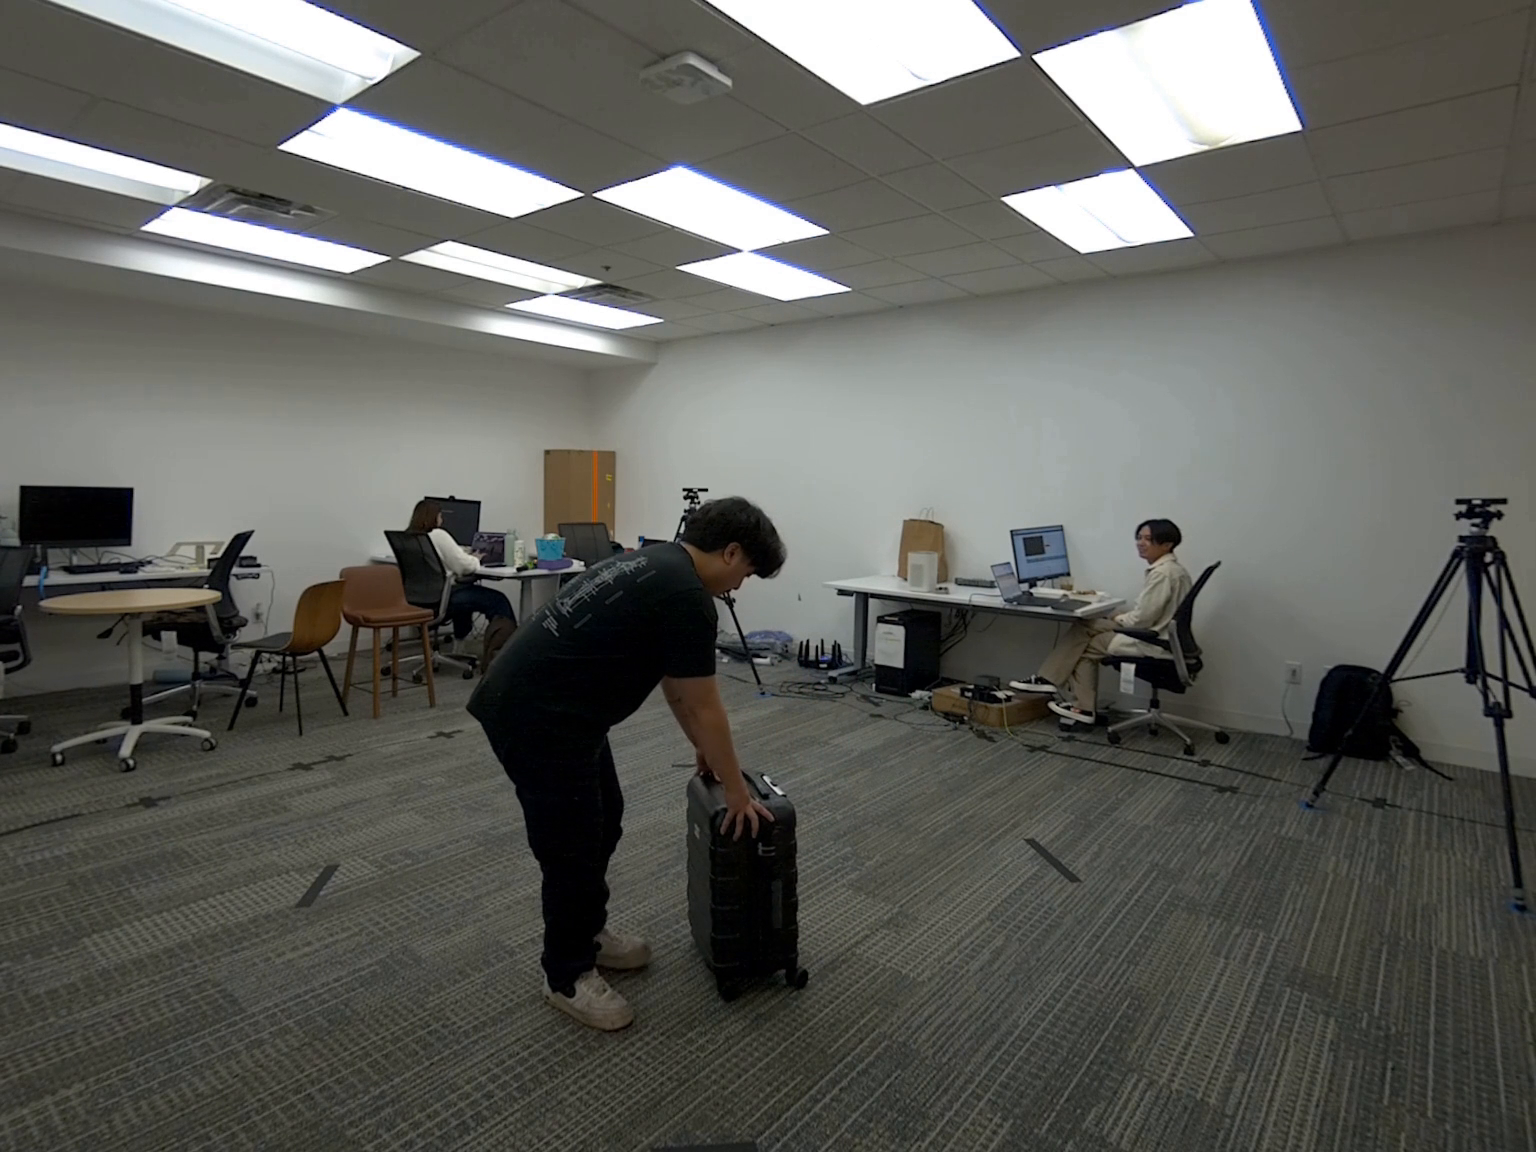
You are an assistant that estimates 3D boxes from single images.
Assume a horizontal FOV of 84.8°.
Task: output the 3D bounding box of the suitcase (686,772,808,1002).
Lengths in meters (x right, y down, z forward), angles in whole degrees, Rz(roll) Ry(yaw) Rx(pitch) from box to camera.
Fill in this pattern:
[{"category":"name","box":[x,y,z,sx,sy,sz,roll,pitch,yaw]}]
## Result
[{"category":"suitcase","box":[-0.091,0.863,2.465,0.244,0.547,0.384,-2,6,-18]}]
